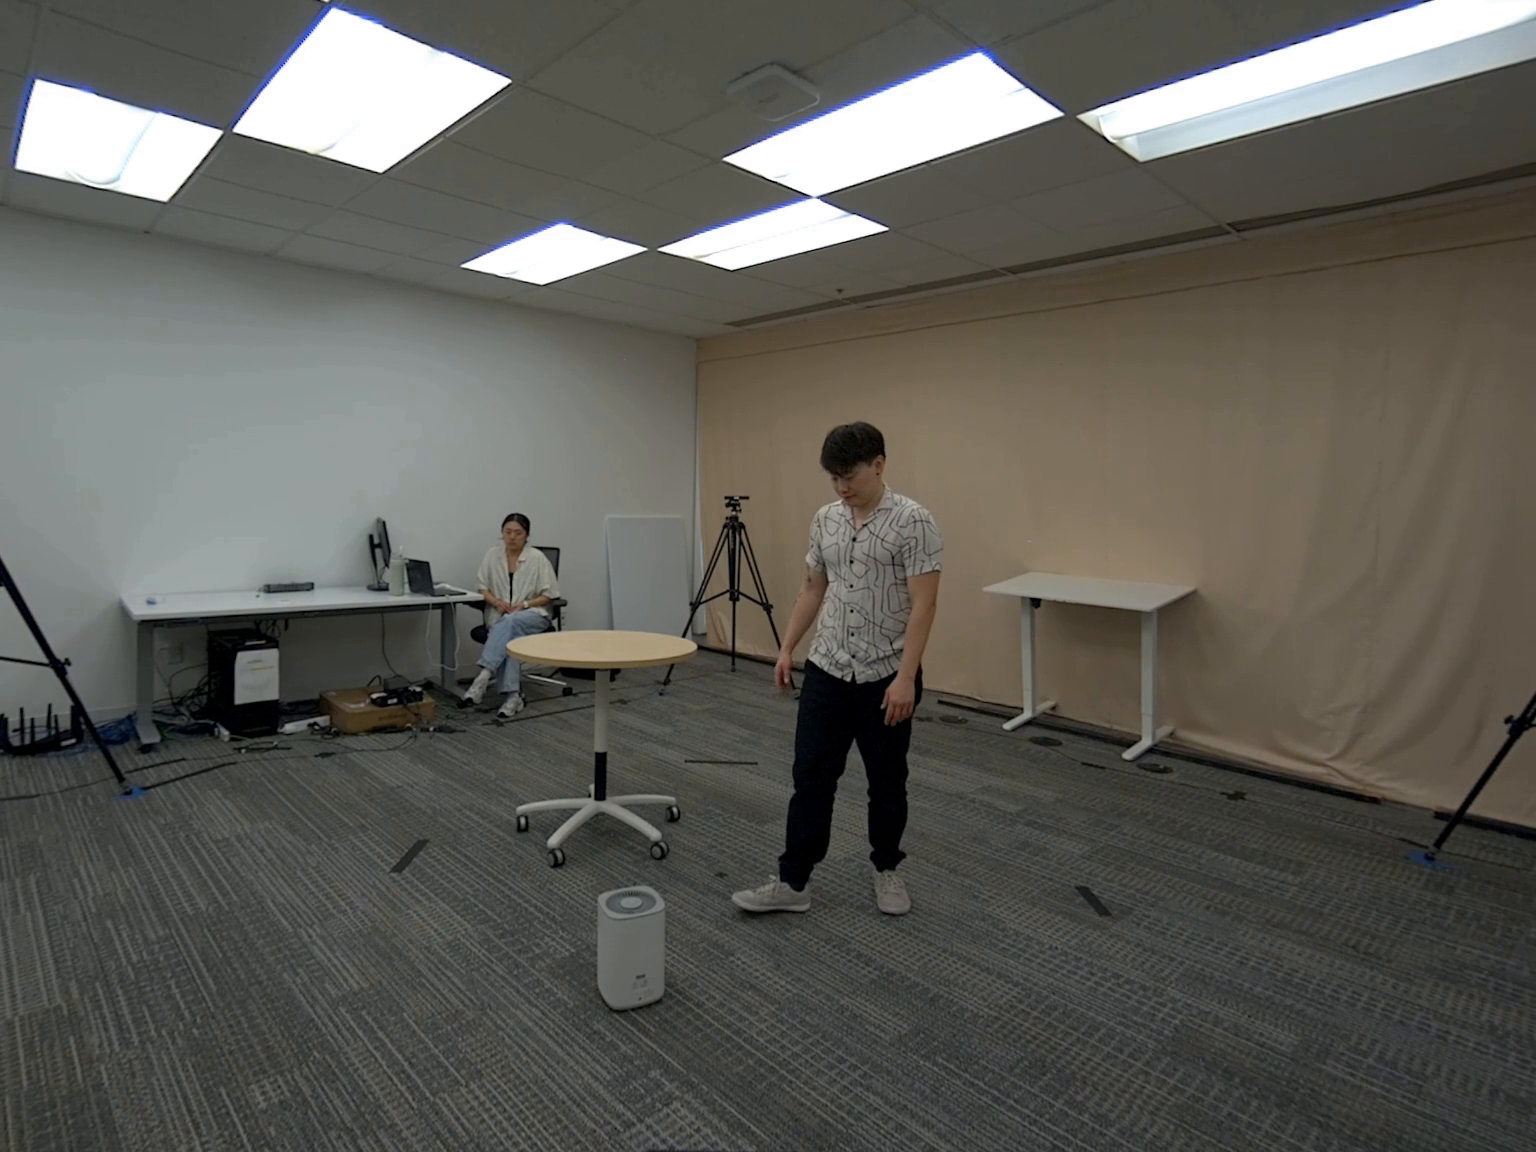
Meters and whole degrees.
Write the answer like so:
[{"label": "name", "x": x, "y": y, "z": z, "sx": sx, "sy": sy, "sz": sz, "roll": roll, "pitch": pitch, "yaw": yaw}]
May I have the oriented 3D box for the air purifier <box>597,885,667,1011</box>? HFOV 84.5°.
[{"label": "air purifier", "x": -0.387, "y": 1.036, "z": 2.339, "sx": 0.168, "sy": 0.265, "sz": 0.175, "roll": -1, "pitch": 4, "yaw": -29}]
